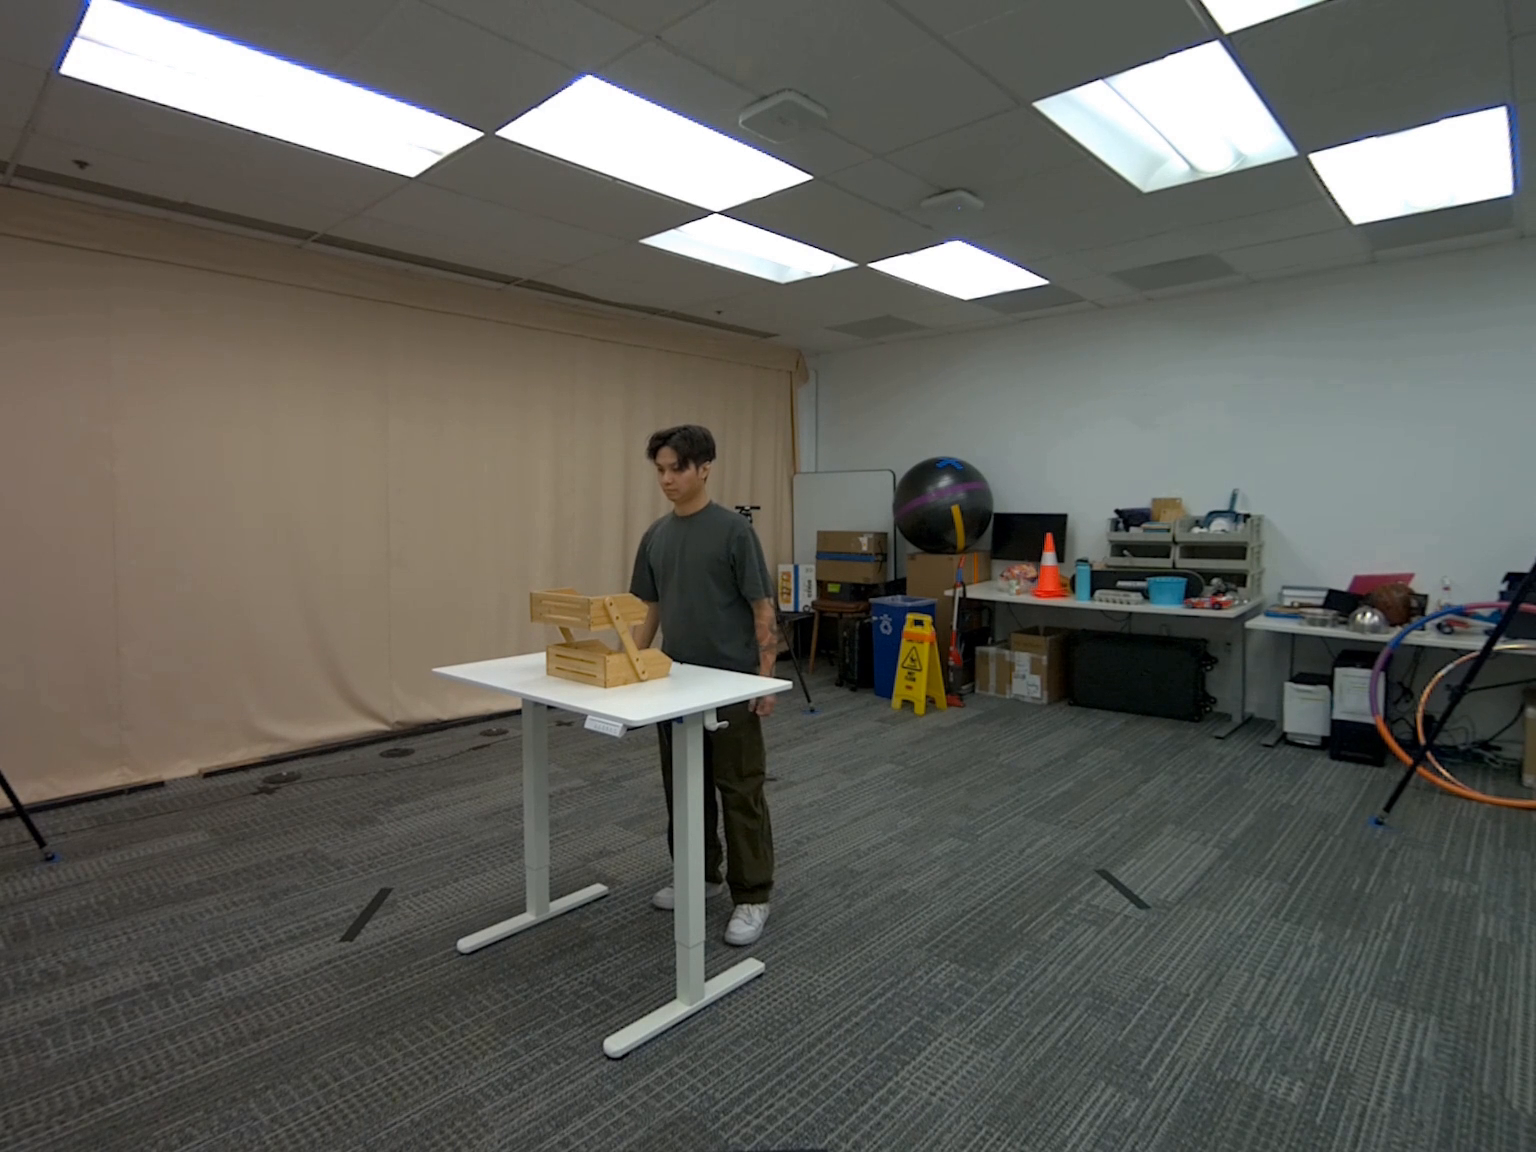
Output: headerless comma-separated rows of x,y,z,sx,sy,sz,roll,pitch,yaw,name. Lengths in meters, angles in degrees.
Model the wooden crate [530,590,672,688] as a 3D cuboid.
-0.502,0.171,2.524,0.335,0.273,0.293,2,5,44,wooden crate
